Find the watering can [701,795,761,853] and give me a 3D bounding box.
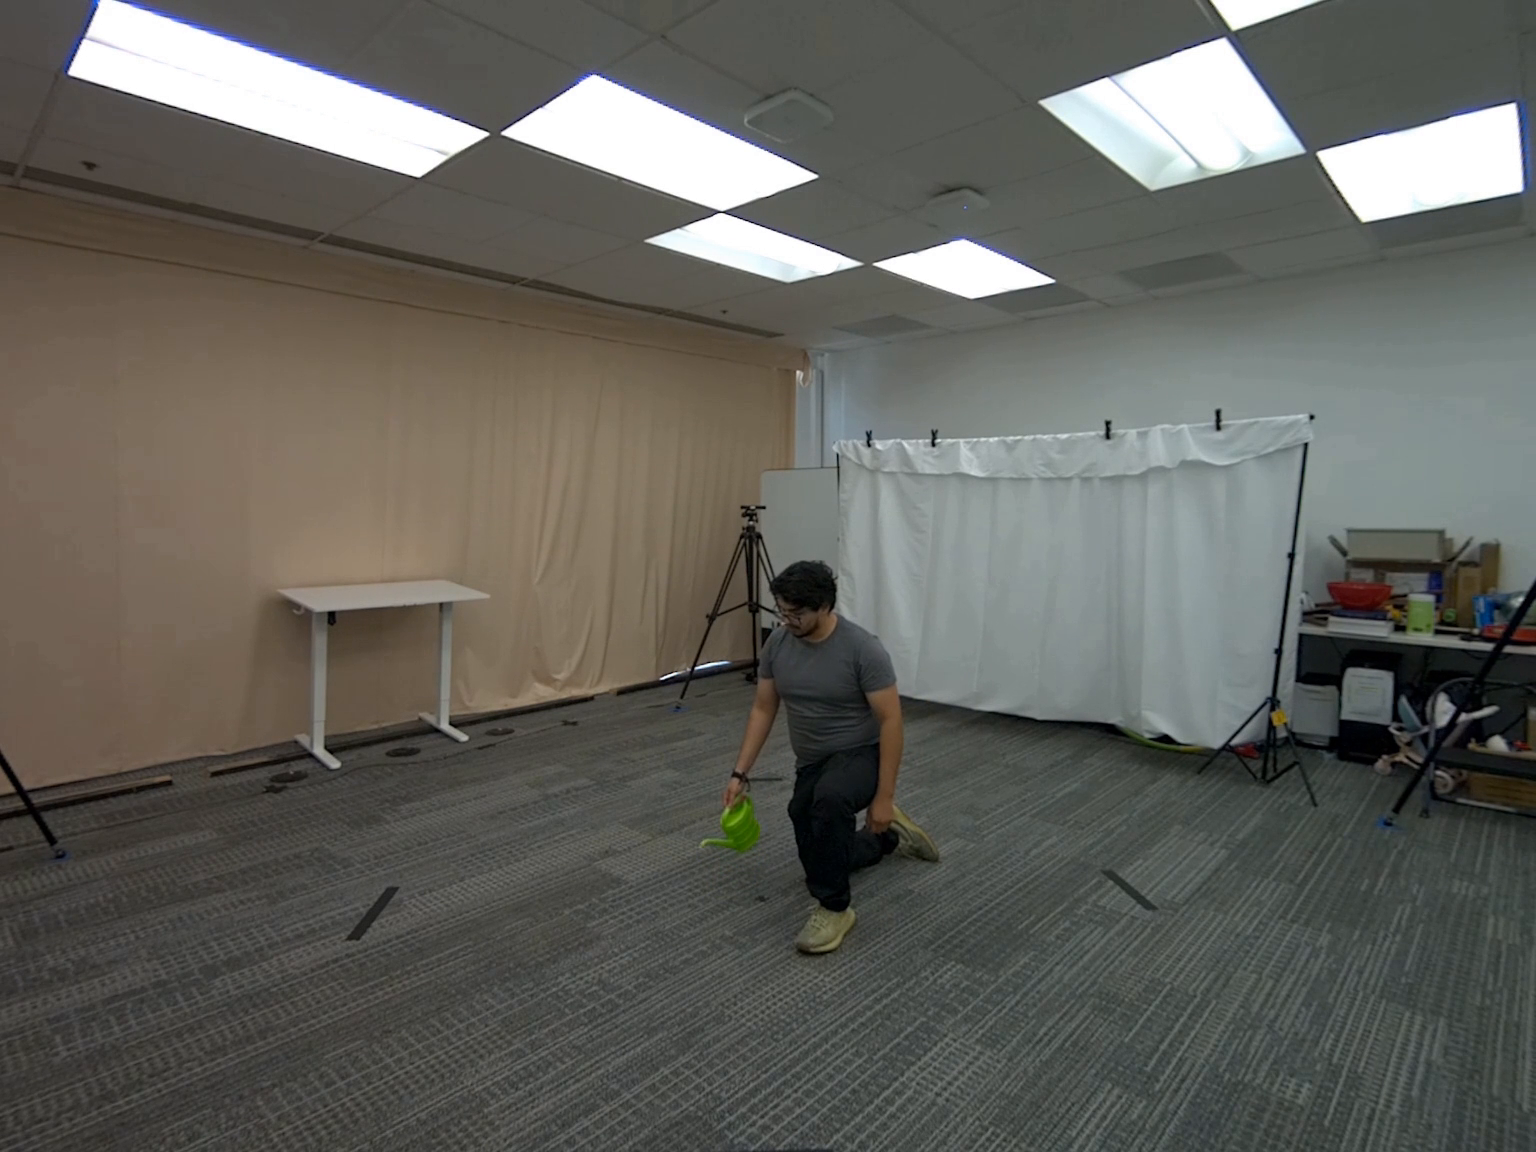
[{"bbox_3d":[-0.137,0.925,3.041,0.275,0.173,0.101,-37,28,-24],"label":"watering can"}]
